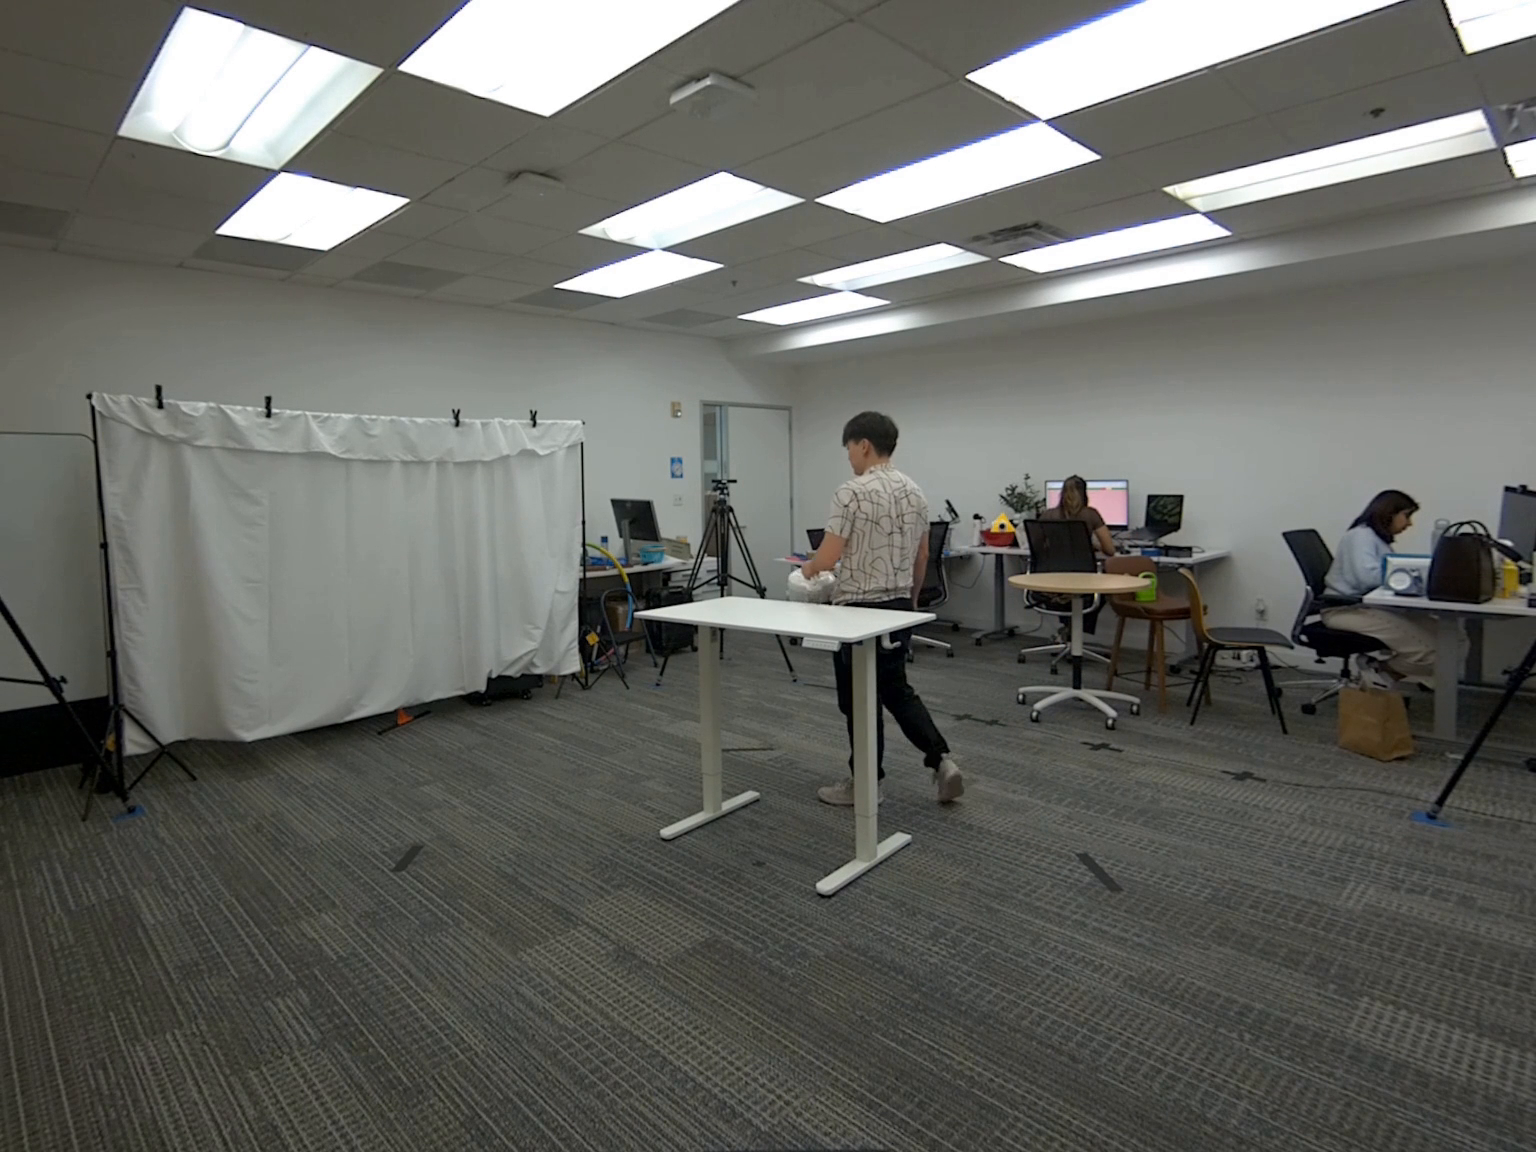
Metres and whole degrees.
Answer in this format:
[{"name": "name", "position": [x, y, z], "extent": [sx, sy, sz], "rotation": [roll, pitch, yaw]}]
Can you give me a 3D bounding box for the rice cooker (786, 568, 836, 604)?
[{"name": "rice cooker", "position": [0.203, 0.068, 3.818], "extent": [0.217, 0.228, 0.225], "rotation": [-3, 21, -2]}]
